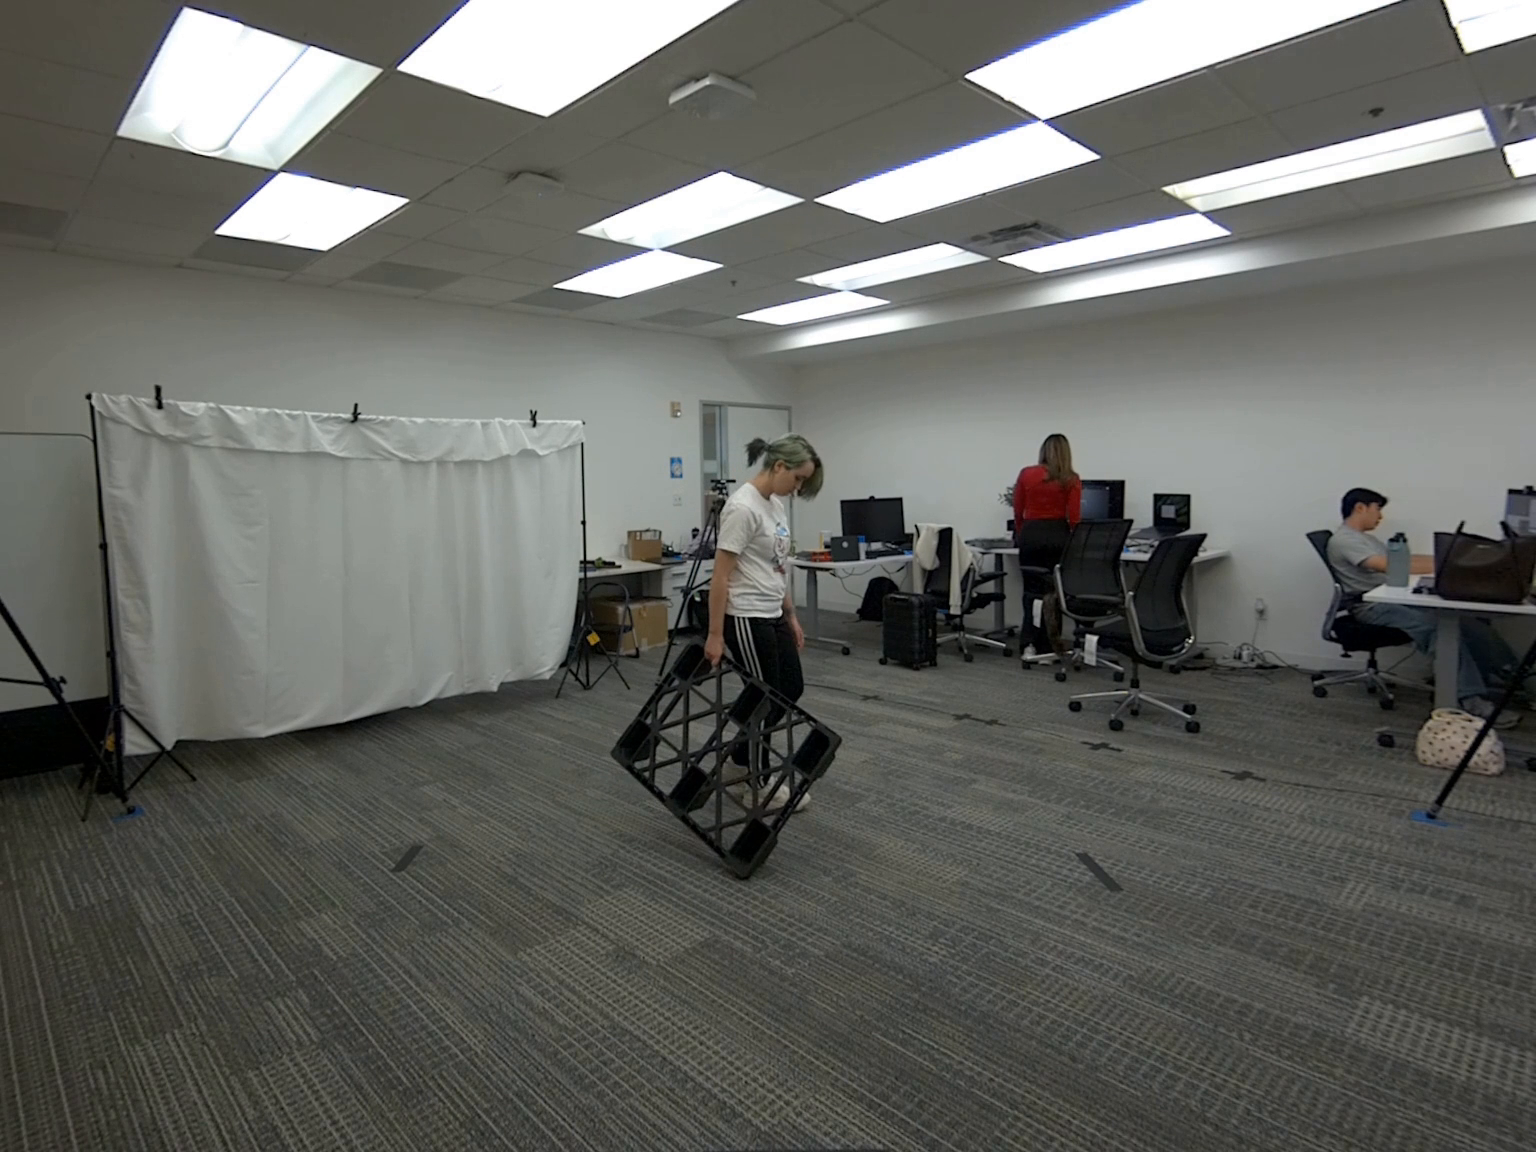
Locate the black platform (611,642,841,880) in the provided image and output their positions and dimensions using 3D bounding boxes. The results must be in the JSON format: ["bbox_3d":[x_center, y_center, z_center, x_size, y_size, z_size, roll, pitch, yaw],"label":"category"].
[{"bbox_3d":[-0.170,0.675,3.304,0.836,0.606,0.138,30,-9,38],"label":"black platform"}]
